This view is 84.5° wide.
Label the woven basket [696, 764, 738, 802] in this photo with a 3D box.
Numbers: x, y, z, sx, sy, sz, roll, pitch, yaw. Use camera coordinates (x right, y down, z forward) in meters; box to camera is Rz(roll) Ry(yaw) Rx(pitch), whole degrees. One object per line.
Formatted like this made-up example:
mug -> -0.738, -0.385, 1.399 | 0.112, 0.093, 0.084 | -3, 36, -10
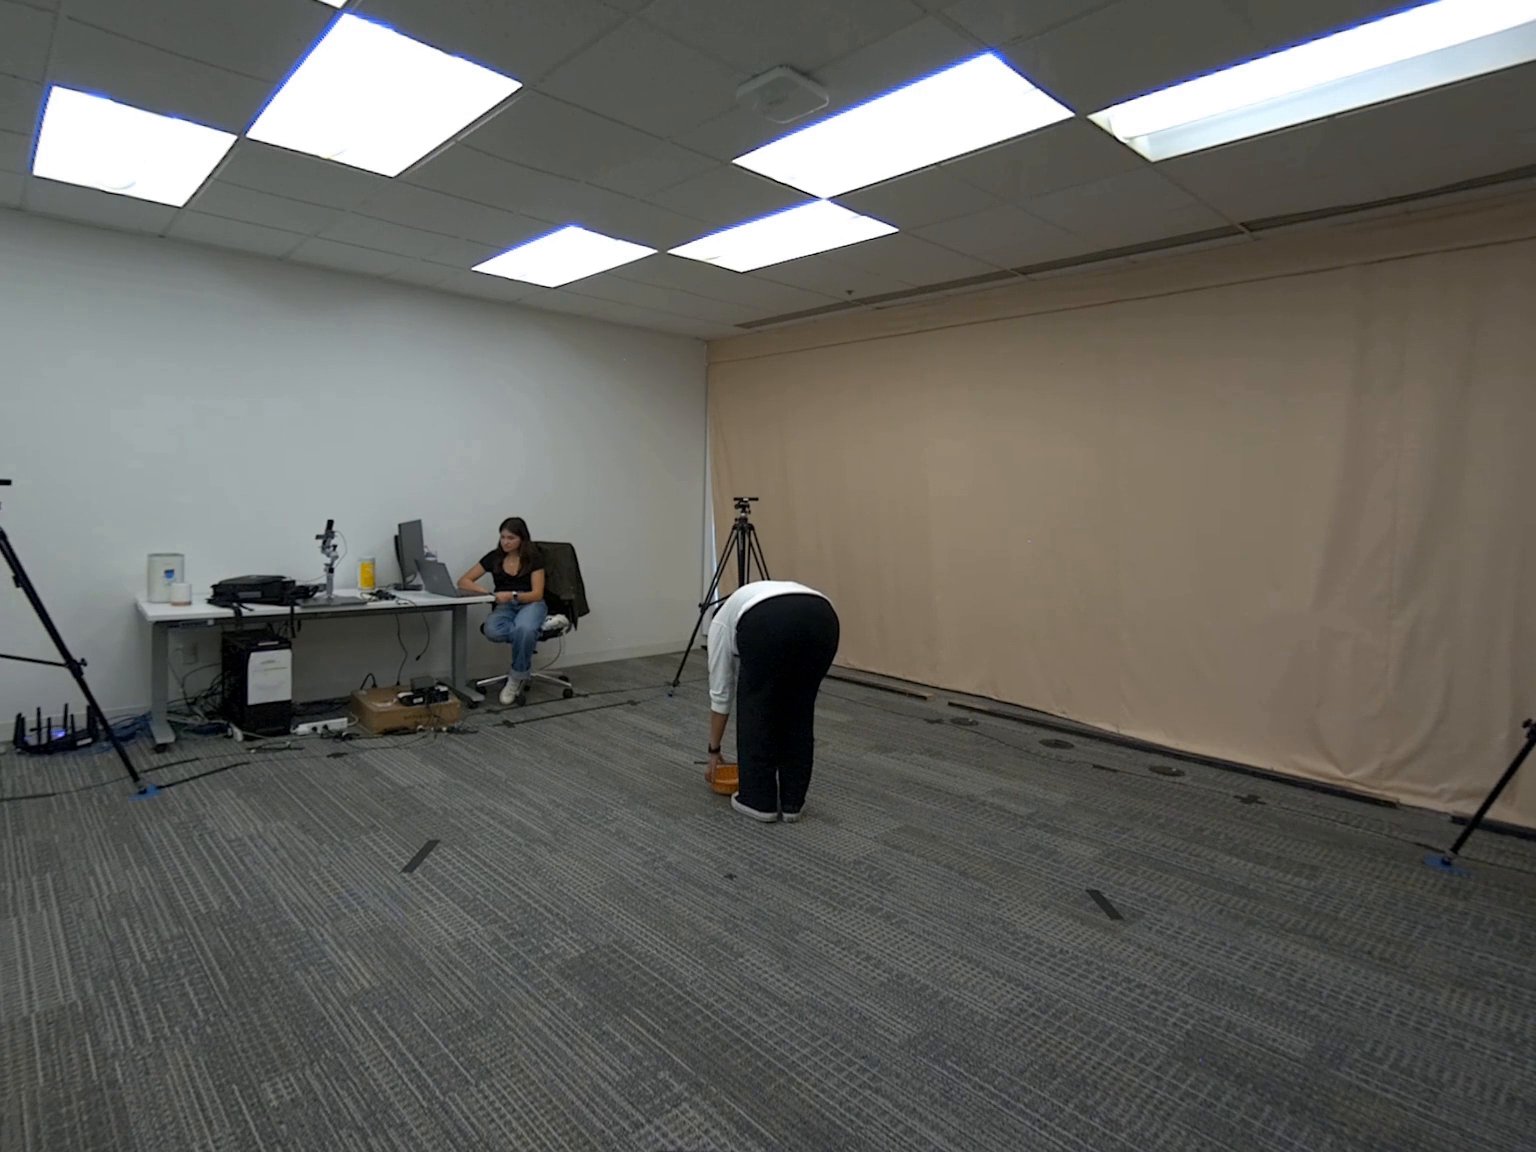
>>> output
woven basket -> -0.136, 0.975, 4.037 | 0.344, 0.073, 0.257 | 0, 6, -23
